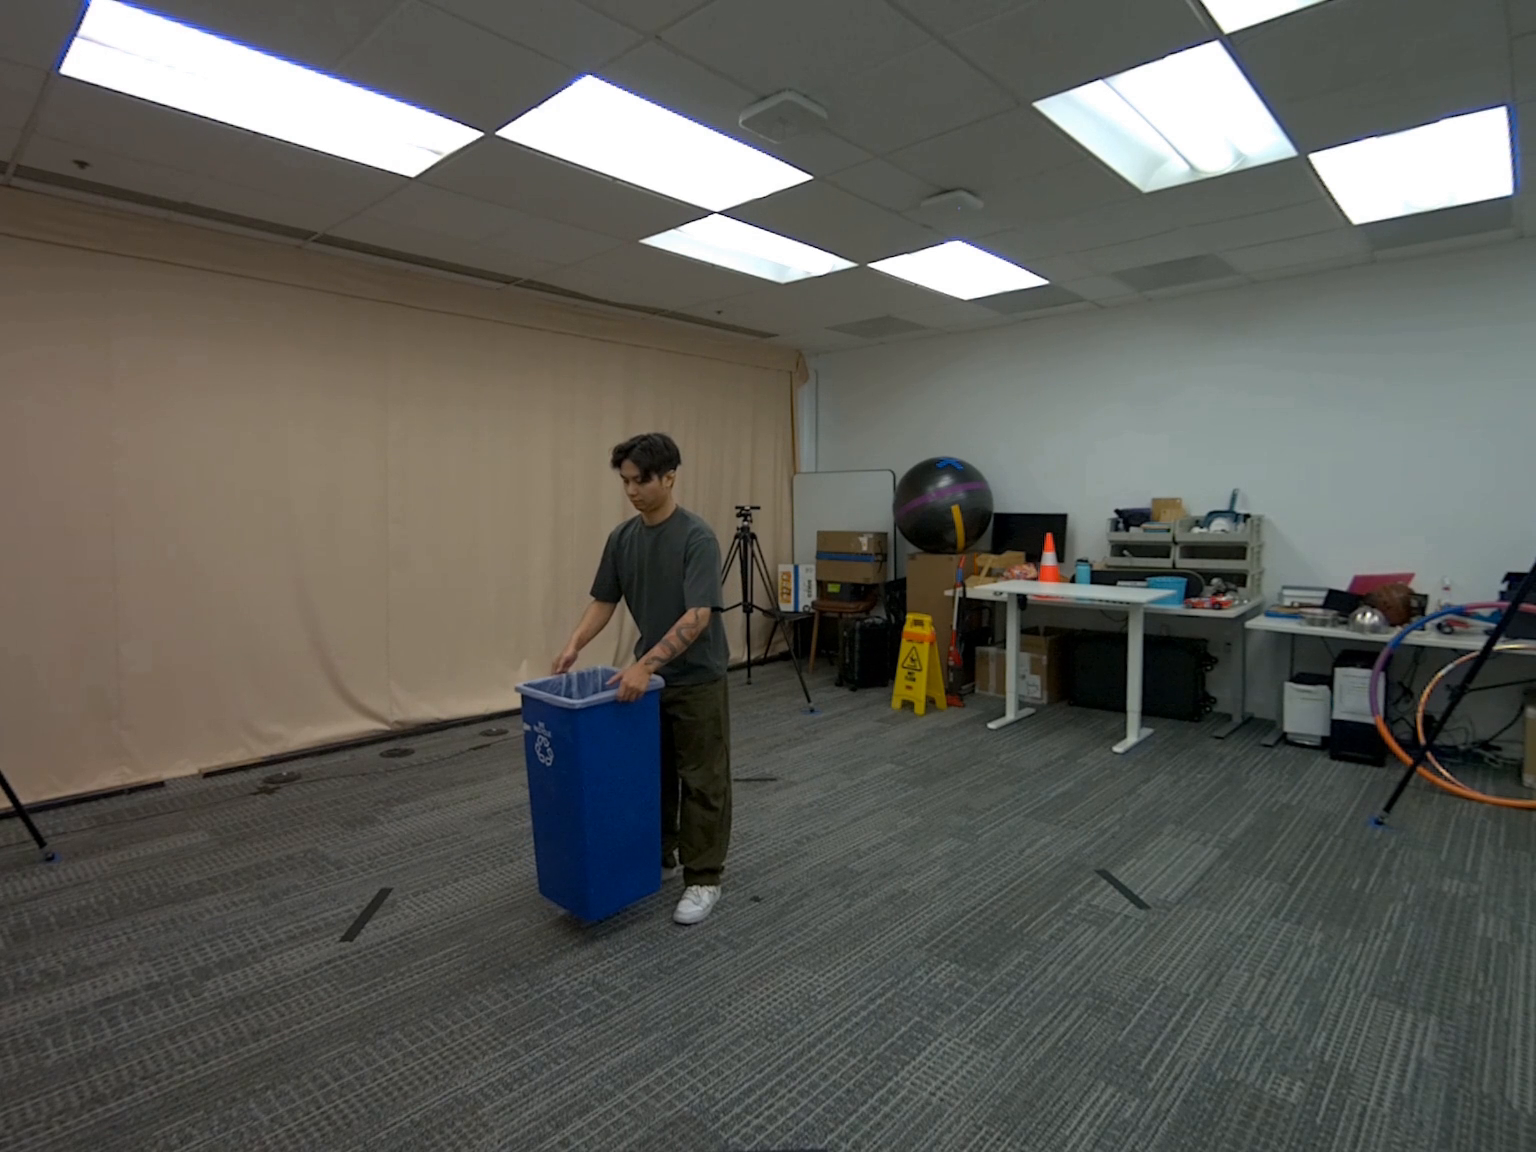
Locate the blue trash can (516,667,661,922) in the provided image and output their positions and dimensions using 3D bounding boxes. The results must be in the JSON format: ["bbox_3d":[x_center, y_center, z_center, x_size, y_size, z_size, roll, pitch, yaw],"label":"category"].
[{"bbox_3d":[-0.571,0.701,2.790,0.386,0.711,0.367,1,6,44],"label":"blue trash can"}]
